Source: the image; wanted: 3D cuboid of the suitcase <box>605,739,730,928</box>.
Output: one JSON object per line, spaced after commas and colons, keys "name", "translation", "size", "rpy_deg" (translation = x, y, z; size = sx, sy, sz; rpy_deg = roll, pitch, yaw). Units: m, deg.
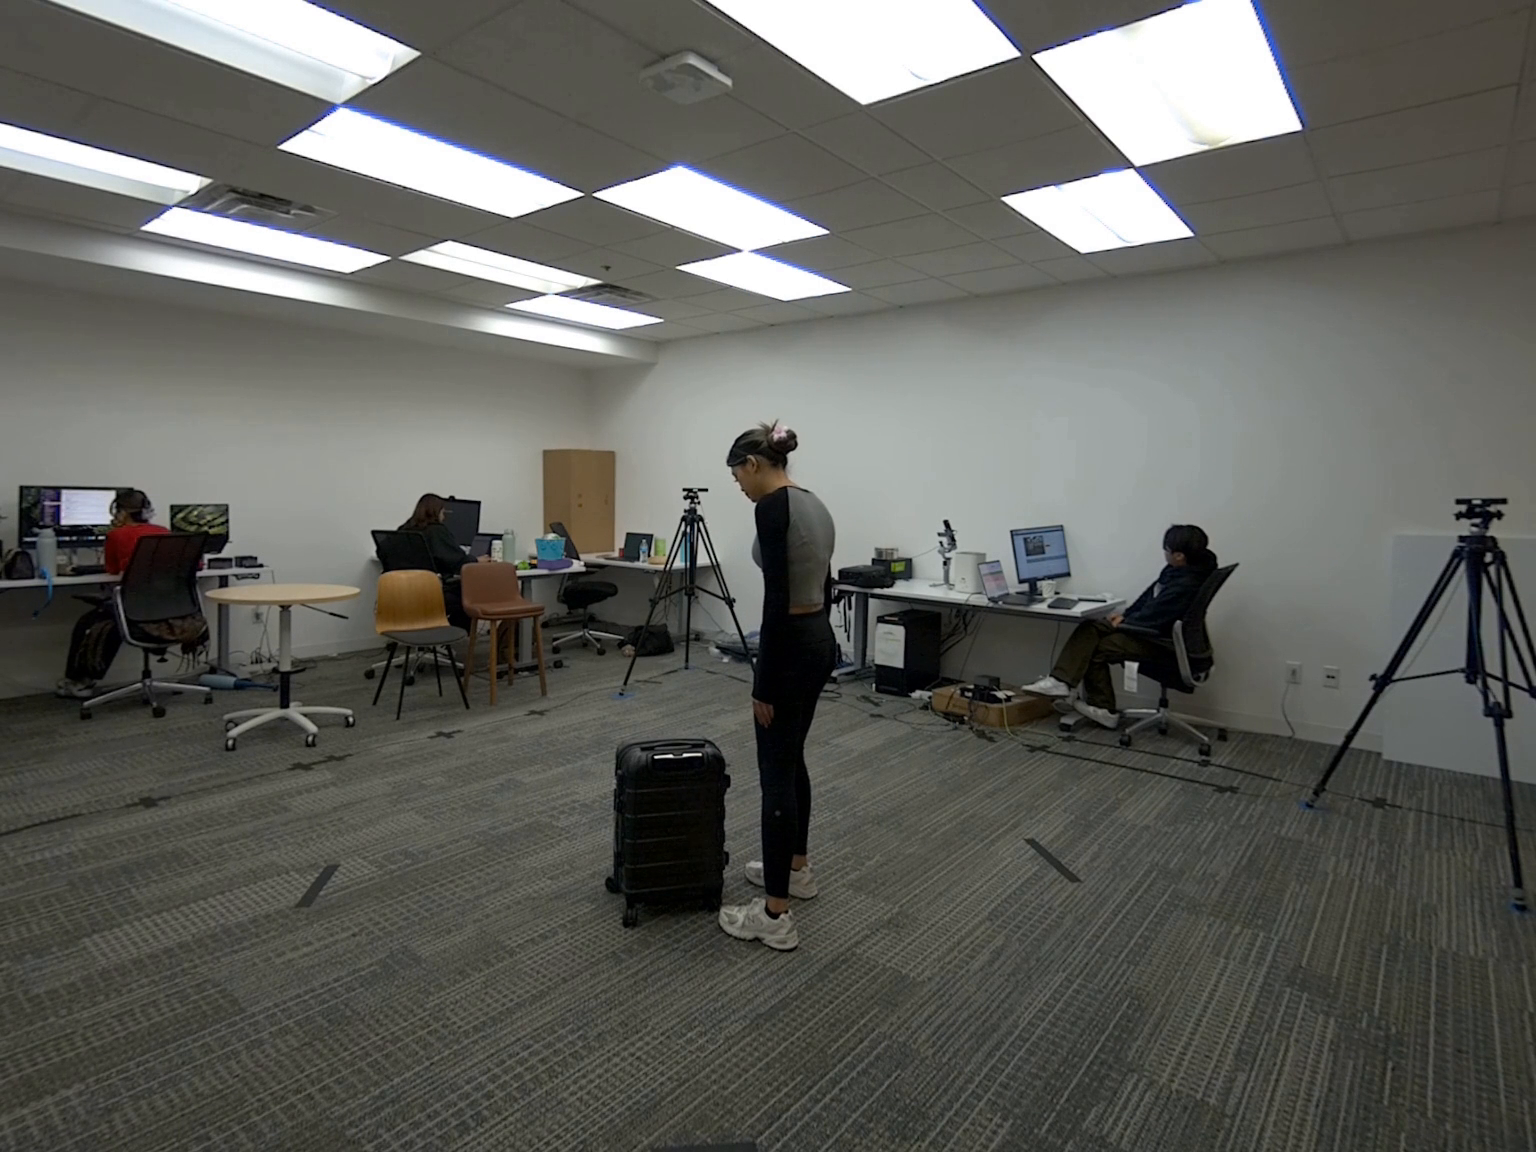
{"name": "suitcase", "translation": [-0.345, 0.817, 2.855], "size": [0.369, 0.548, 0.253], "rpy_deg": [-1, 2, -16]}
